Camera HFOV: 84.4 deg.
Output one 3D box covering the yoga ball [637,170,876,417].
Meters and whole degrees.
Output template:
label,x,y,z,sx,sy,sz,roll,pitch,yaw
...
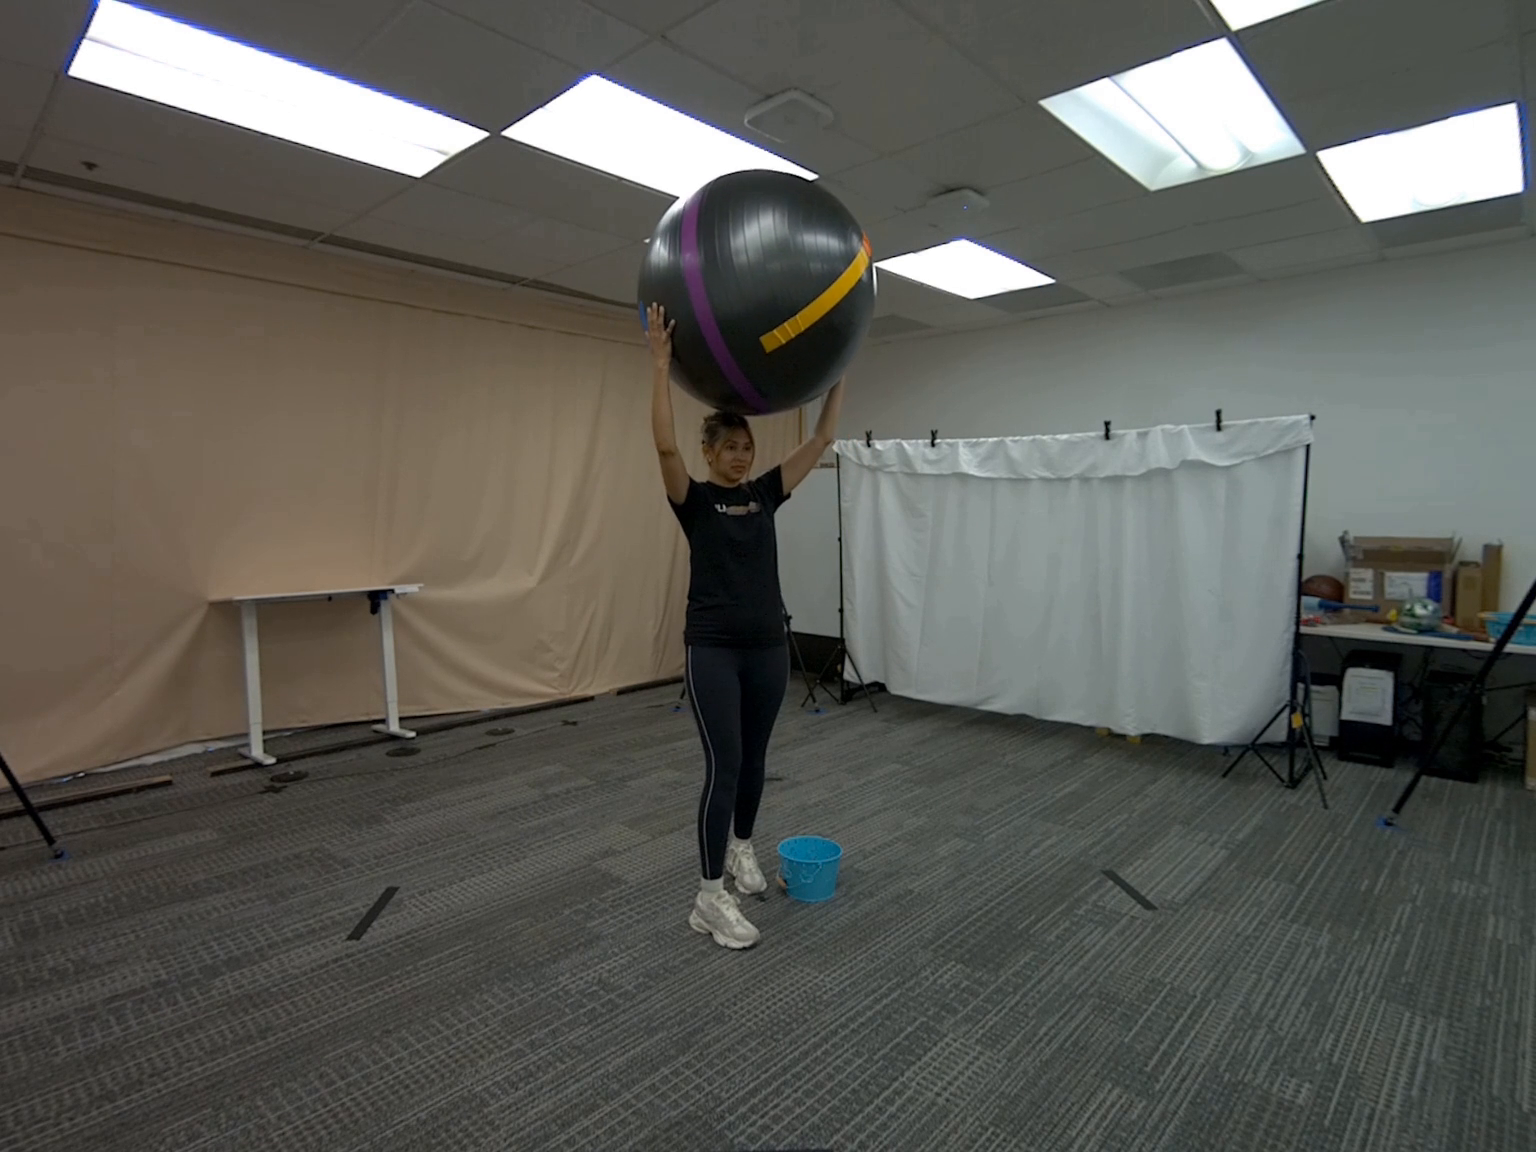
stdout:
label,x,y,z,sx,sy,sz,roll,pitch,yaw
yoga ball,-0.036,-0.892,2.695,0.757,0.756,0.760,0,4,-2
